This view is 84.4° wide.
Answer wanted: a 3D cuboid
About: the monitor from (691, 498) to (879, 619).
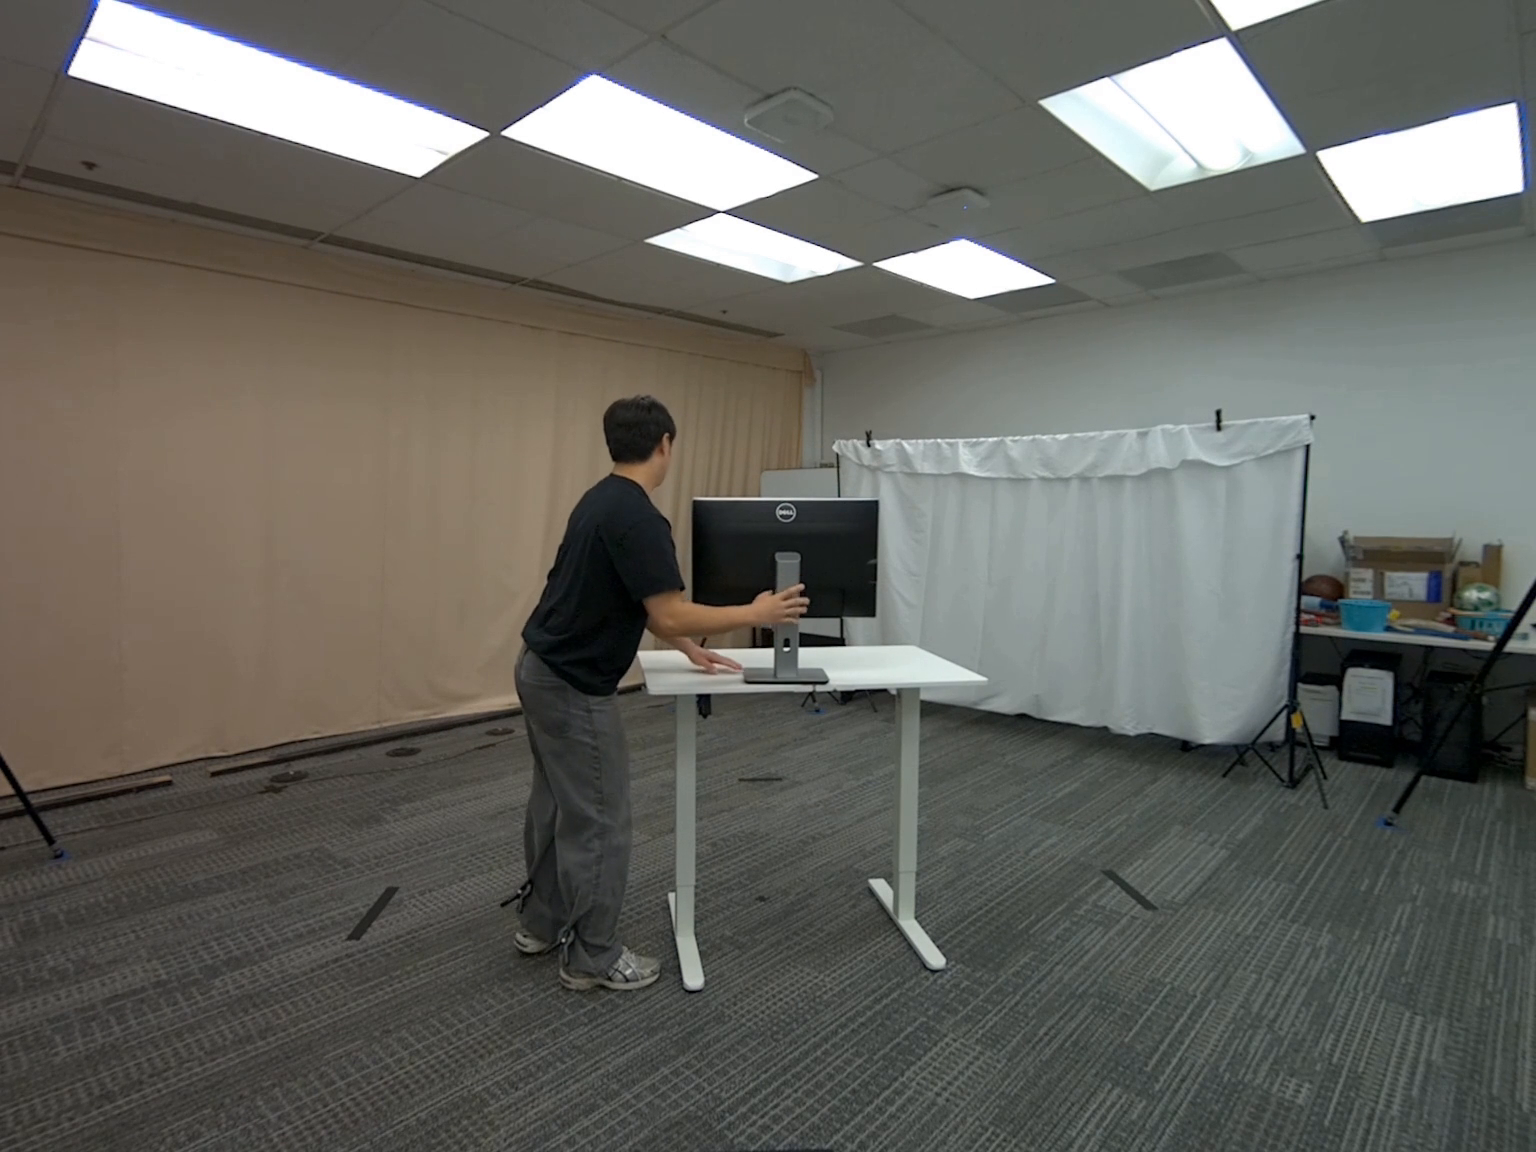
[{"bbox_3d":[0.055,0.049,2.480,0.563,0.567,0.221,1,-4,2],"label":"monitor"}]
